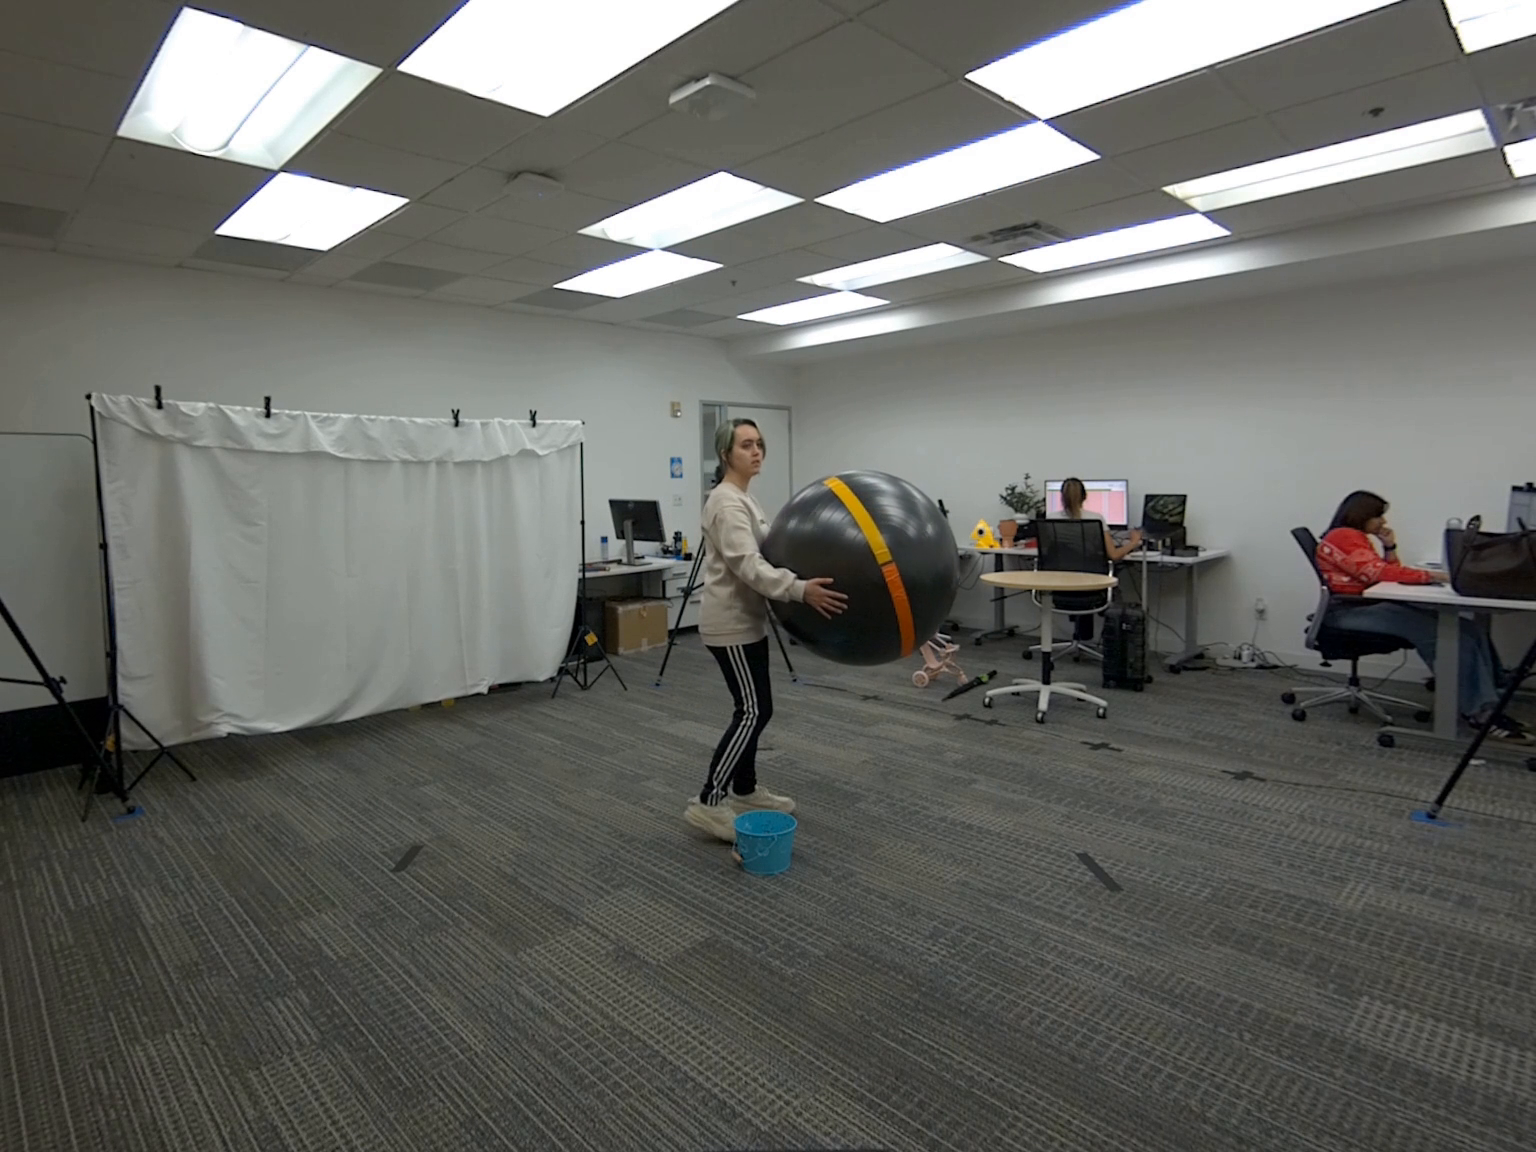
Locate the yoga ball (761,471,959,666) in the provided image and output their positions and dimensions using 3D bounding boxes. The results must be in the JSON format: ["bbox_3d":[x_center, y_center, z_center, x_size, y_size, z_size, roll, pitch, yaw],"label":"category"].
[{"bbox_3d":[0.357,-0.024,3.327,0.757,0.755,0.762,-1,5,-2],"label":"yoga ball"}]
